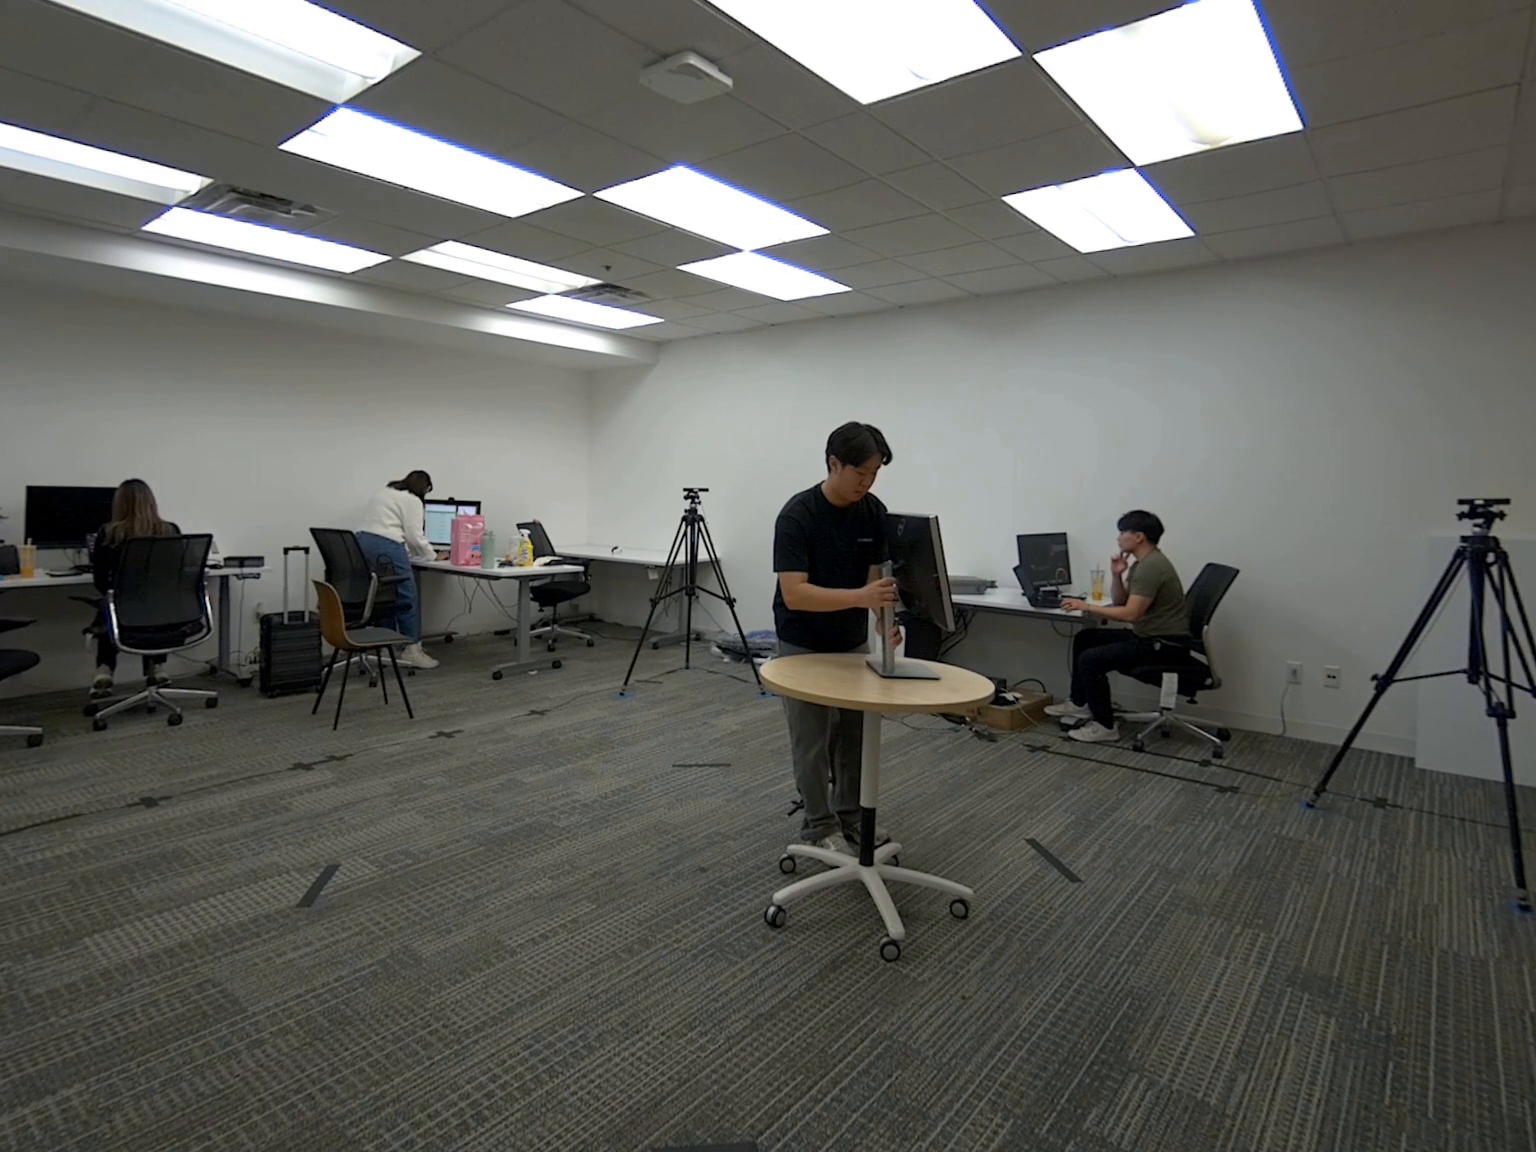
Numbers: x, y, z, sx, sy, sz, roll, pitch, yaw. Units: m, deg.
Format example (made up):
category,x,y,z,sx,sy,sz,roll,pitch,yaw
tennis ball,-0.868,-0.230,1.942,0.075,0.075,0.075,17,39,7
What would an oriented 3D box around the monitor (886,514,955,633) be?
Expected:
category,x,y,z,sx,sy,sz,roll,pitch,yaw
monitor,0.469,0.062,2.900,0.221,0.564,0.566,3,4,-5
